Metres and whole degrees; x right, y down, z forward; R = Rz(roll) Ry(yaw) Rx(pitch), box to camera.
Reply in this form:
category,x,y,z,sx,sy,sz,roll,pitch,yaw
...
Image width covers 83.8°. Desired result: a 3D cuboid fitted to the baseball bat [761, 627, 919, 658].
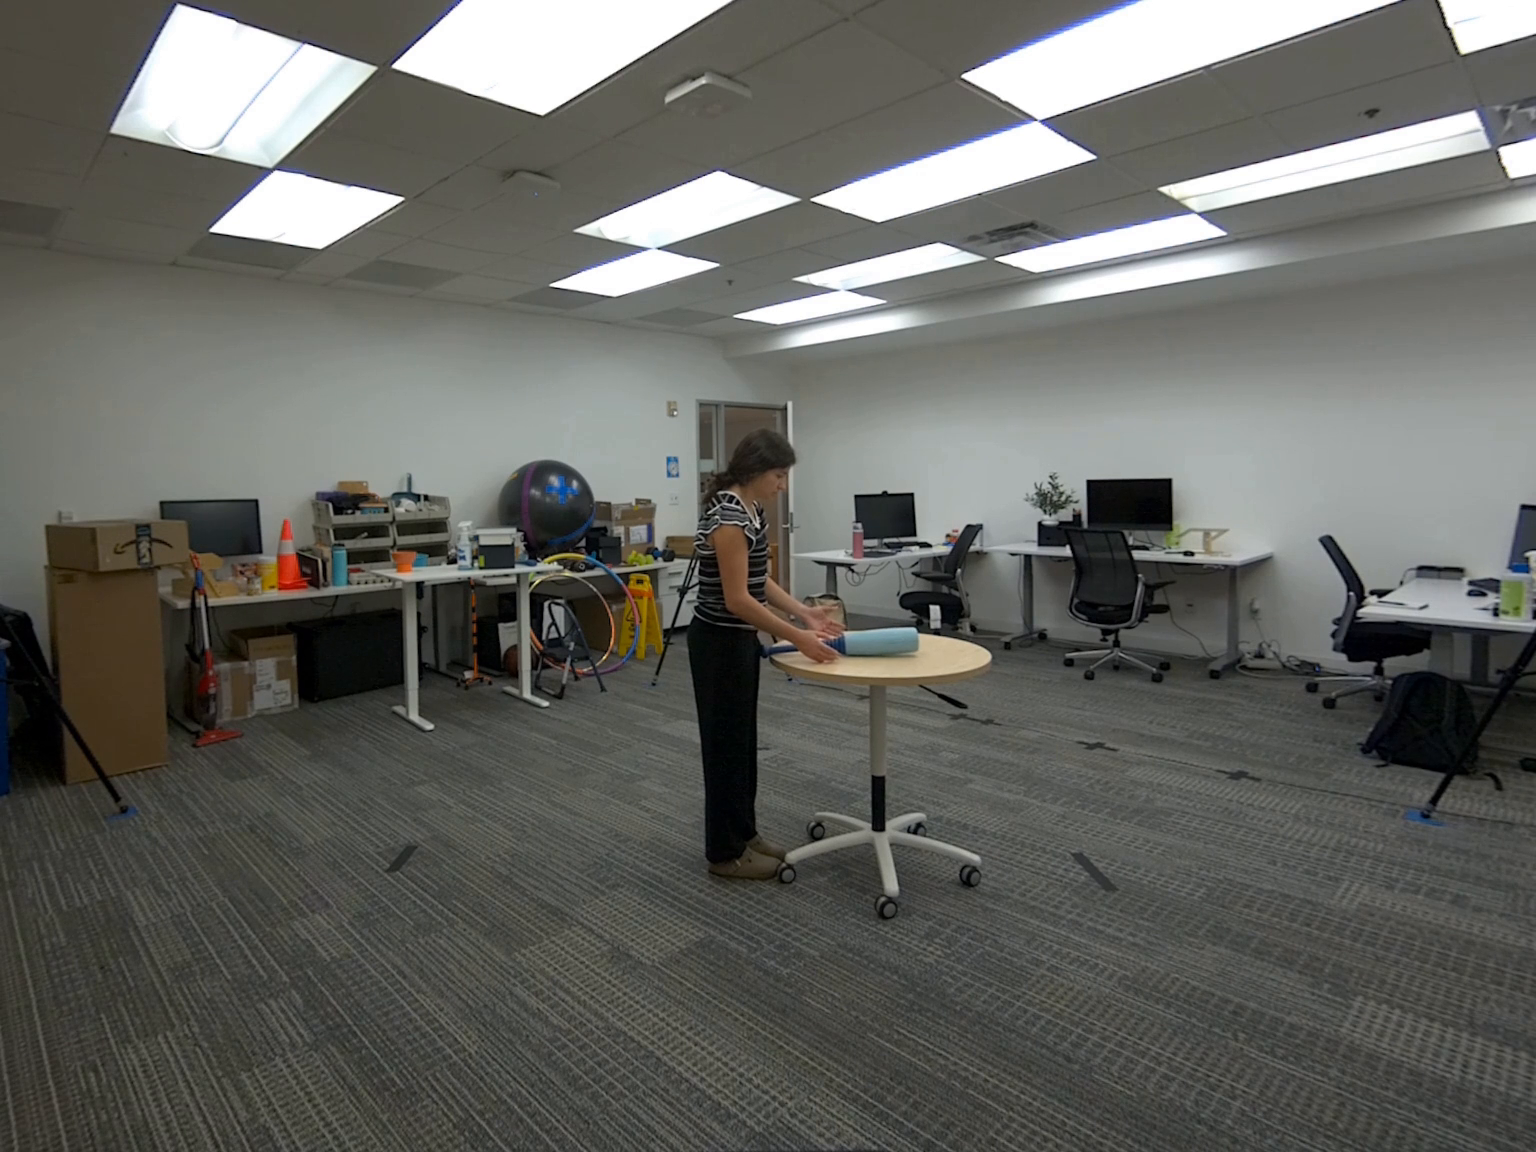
category,x,y,z,sx,sy,sz,roll,pitch,yaw
baseball bat,0.238,0.243,2.948,0.545,0.089,0.089,-5,5,5
